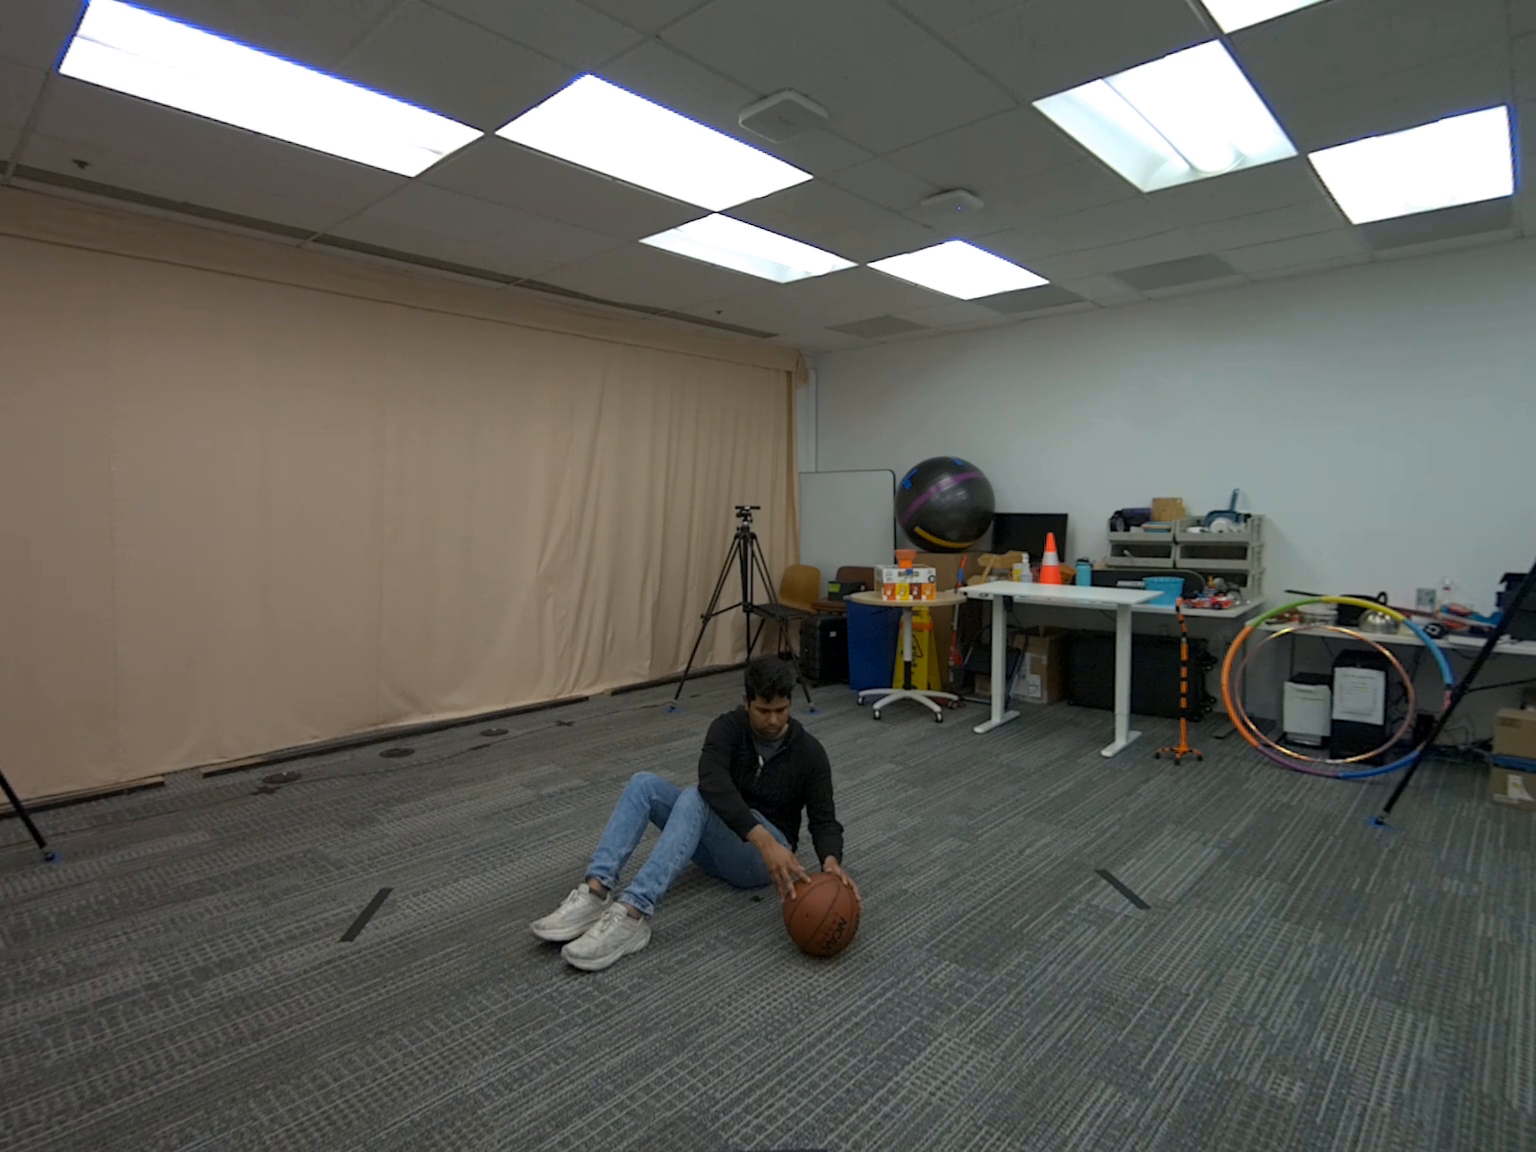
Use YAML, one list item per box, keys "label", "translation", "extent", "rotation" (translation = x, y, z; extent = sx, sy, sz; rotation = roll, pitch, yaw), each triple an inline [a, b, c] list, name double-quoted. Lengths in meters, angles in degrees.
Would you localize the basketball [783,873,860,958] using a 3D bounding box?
- label: "basketball"
  translation: [0.168, 1.044, 2.635]
  extent: [0.236, 0.235, 0.237]
  rotation: [0, 4, -2]
